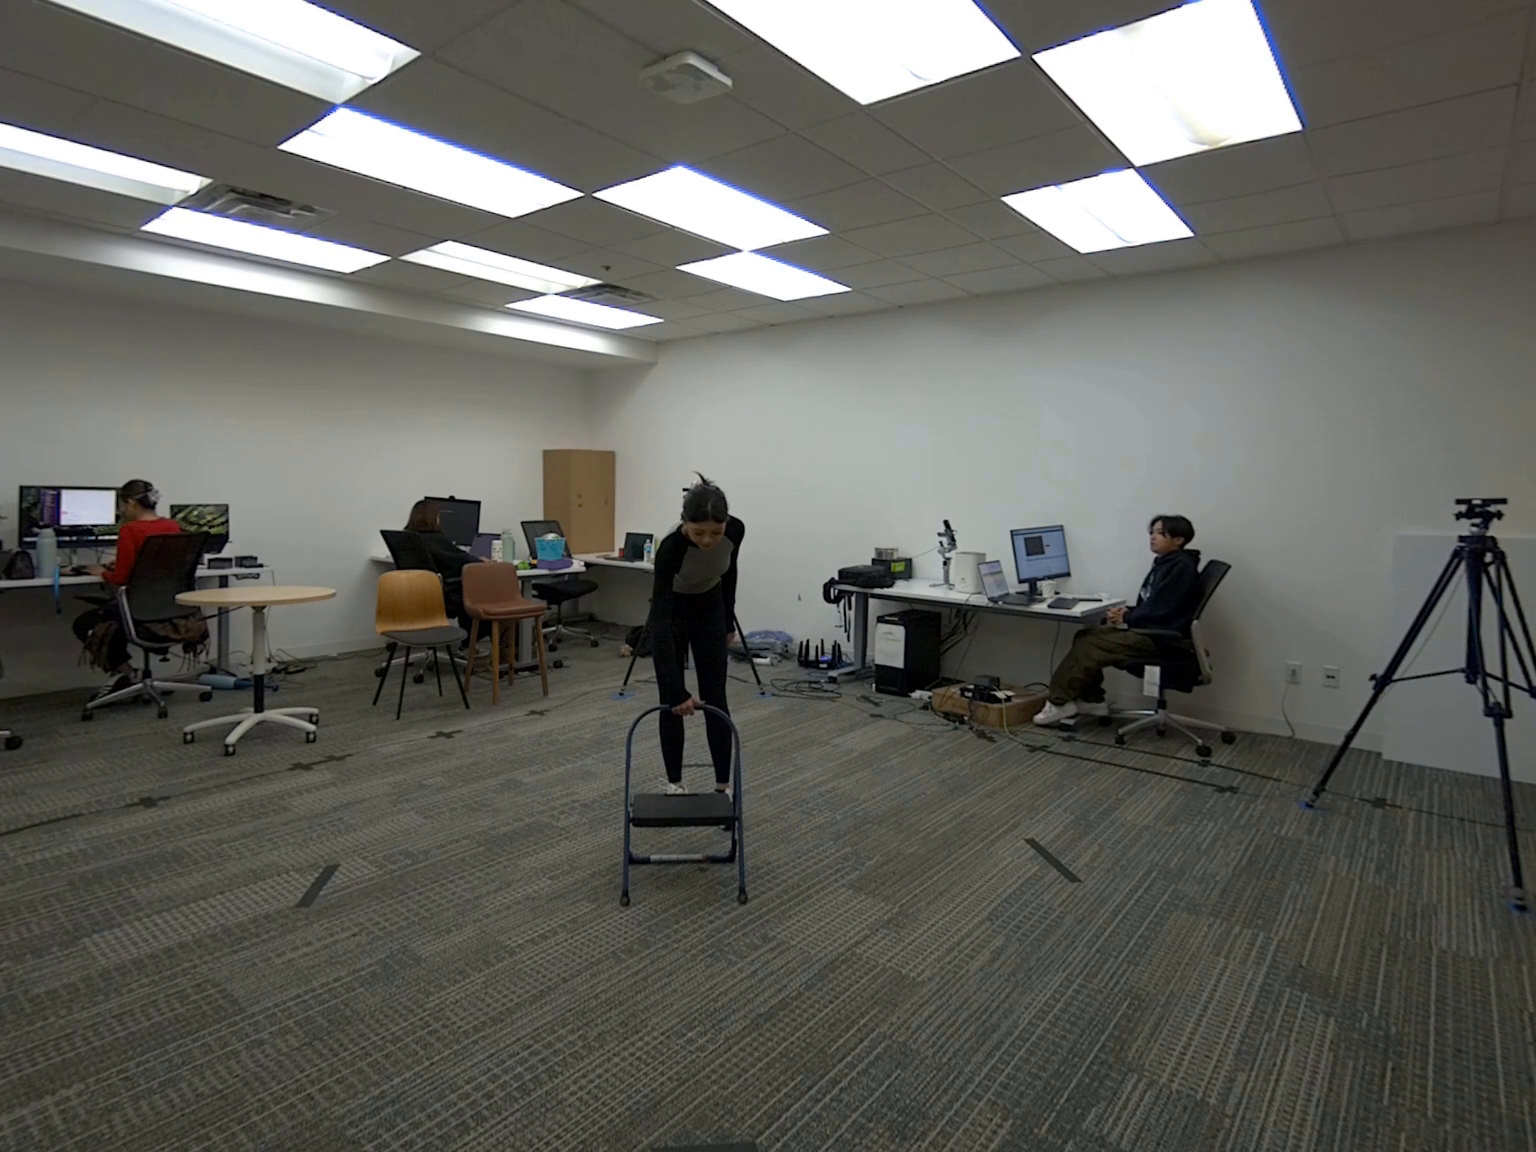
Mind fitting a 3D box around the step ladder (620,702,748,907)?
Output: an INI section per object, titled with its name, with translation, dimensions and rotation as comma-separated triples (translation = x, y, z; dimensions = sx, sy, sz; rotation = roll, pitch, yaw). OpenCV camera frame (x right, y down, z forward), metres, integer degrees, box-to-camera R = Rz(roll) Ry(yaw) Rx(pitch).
[step ladder]
translation = -0.312, 0.778, 3.005
dimensions = 0.428, 0.605, 0.352
rotation = 0, 2, -6
